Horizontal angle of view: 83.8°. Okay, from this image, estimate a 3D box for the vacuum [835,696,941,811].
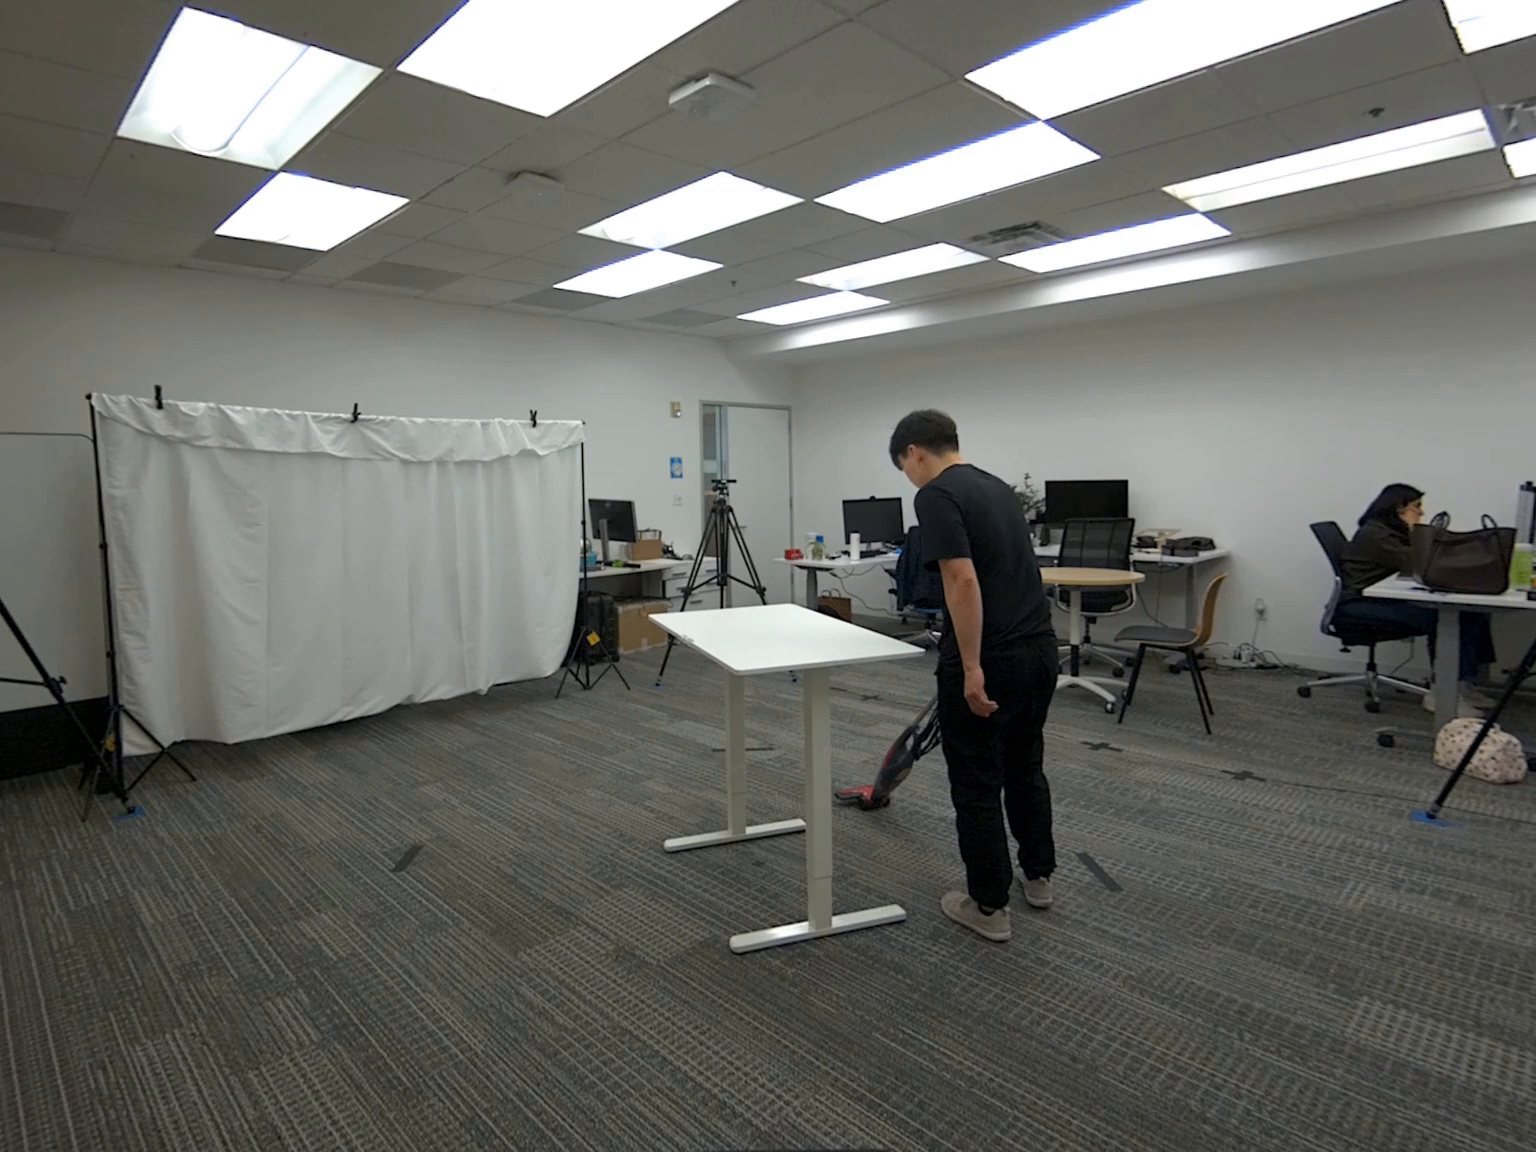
[{"bbox_3d":[0.593,0.628,3.313,0.247,0.149,1.035,-4,-38,-26],"label":"vacuum"}]
